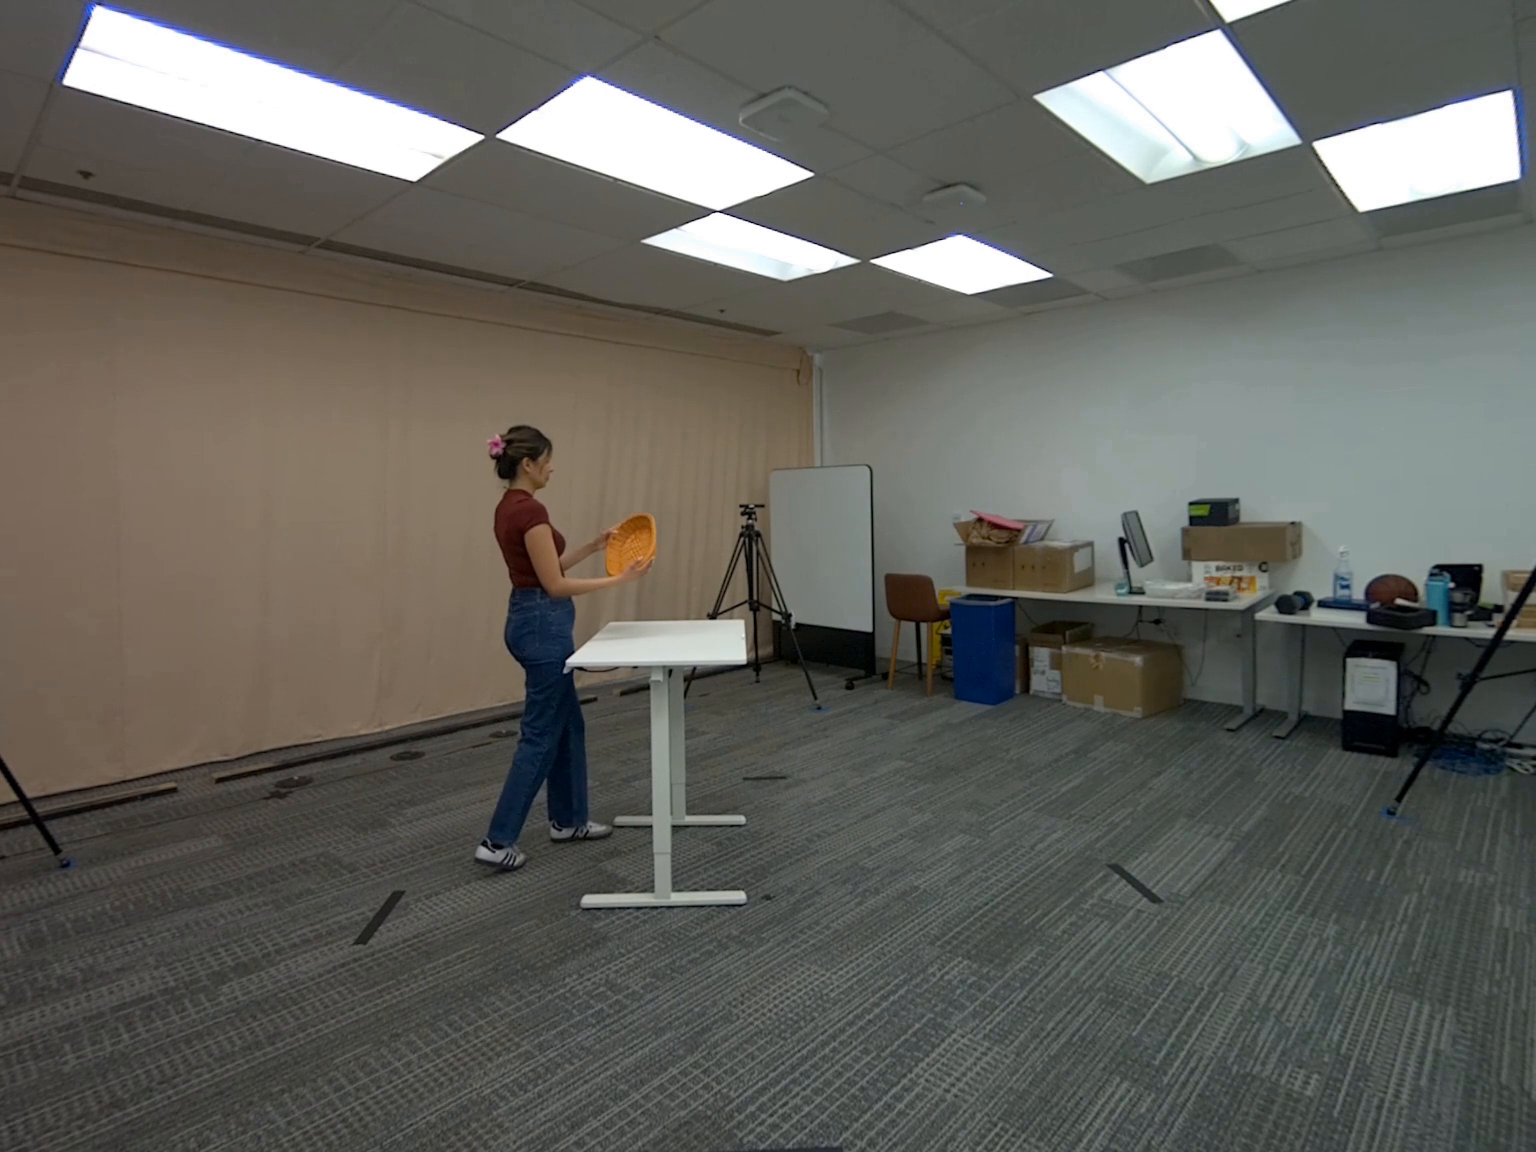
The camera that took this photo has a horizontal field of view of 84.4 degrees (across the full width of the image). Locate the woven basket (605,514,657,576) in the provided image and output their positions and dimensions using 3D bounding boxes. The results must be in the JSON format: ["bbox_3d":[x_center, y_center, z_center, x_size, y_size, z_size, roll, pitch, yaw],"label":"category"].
[{"bbox_3d":[-0.552,-0.105,3.468,0.256,0.358,0.071,-23,-47,18],"label":"woven basket"}]
